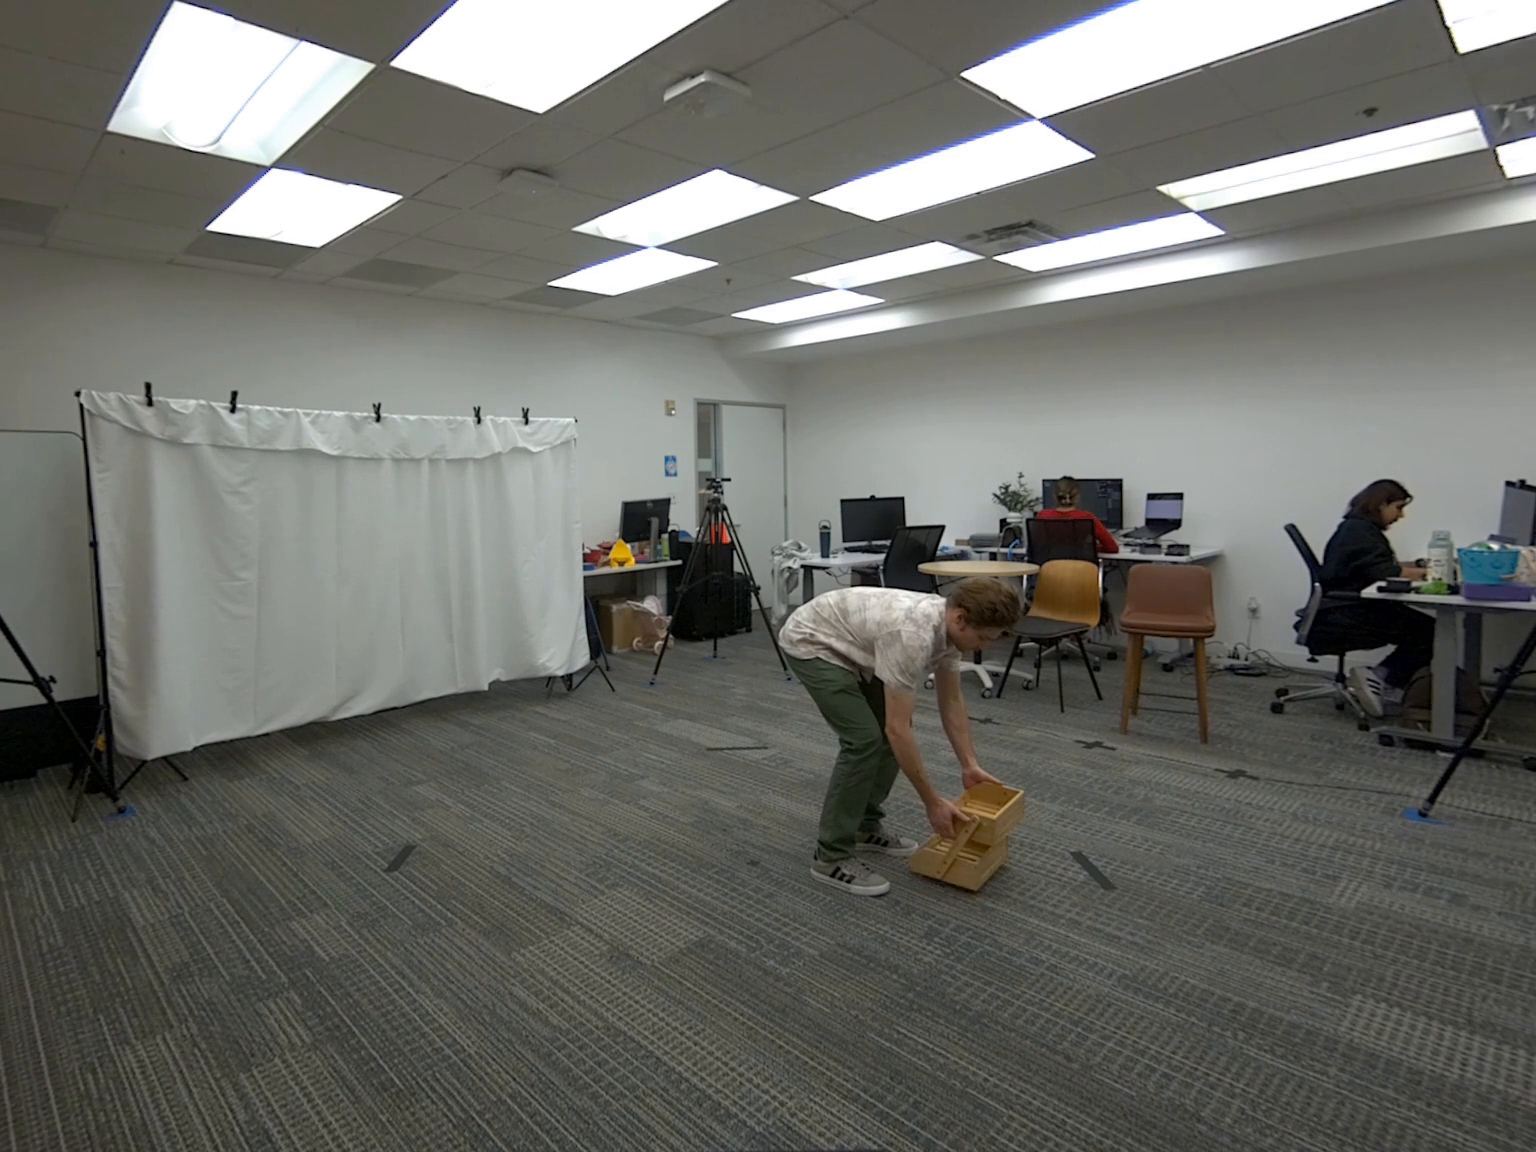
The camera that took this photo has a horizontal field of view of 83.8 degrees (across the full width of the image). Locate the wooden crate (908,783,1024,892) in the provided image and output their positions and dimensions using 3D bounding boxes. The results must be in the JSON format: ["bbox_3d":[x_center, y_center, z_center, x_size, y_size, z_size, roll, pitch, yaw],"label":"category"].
[{"bbox_3d":[0.697,0.880,2.981,0.311,0.272,0.316,5,8,35],"label":"wooden crate"}]
